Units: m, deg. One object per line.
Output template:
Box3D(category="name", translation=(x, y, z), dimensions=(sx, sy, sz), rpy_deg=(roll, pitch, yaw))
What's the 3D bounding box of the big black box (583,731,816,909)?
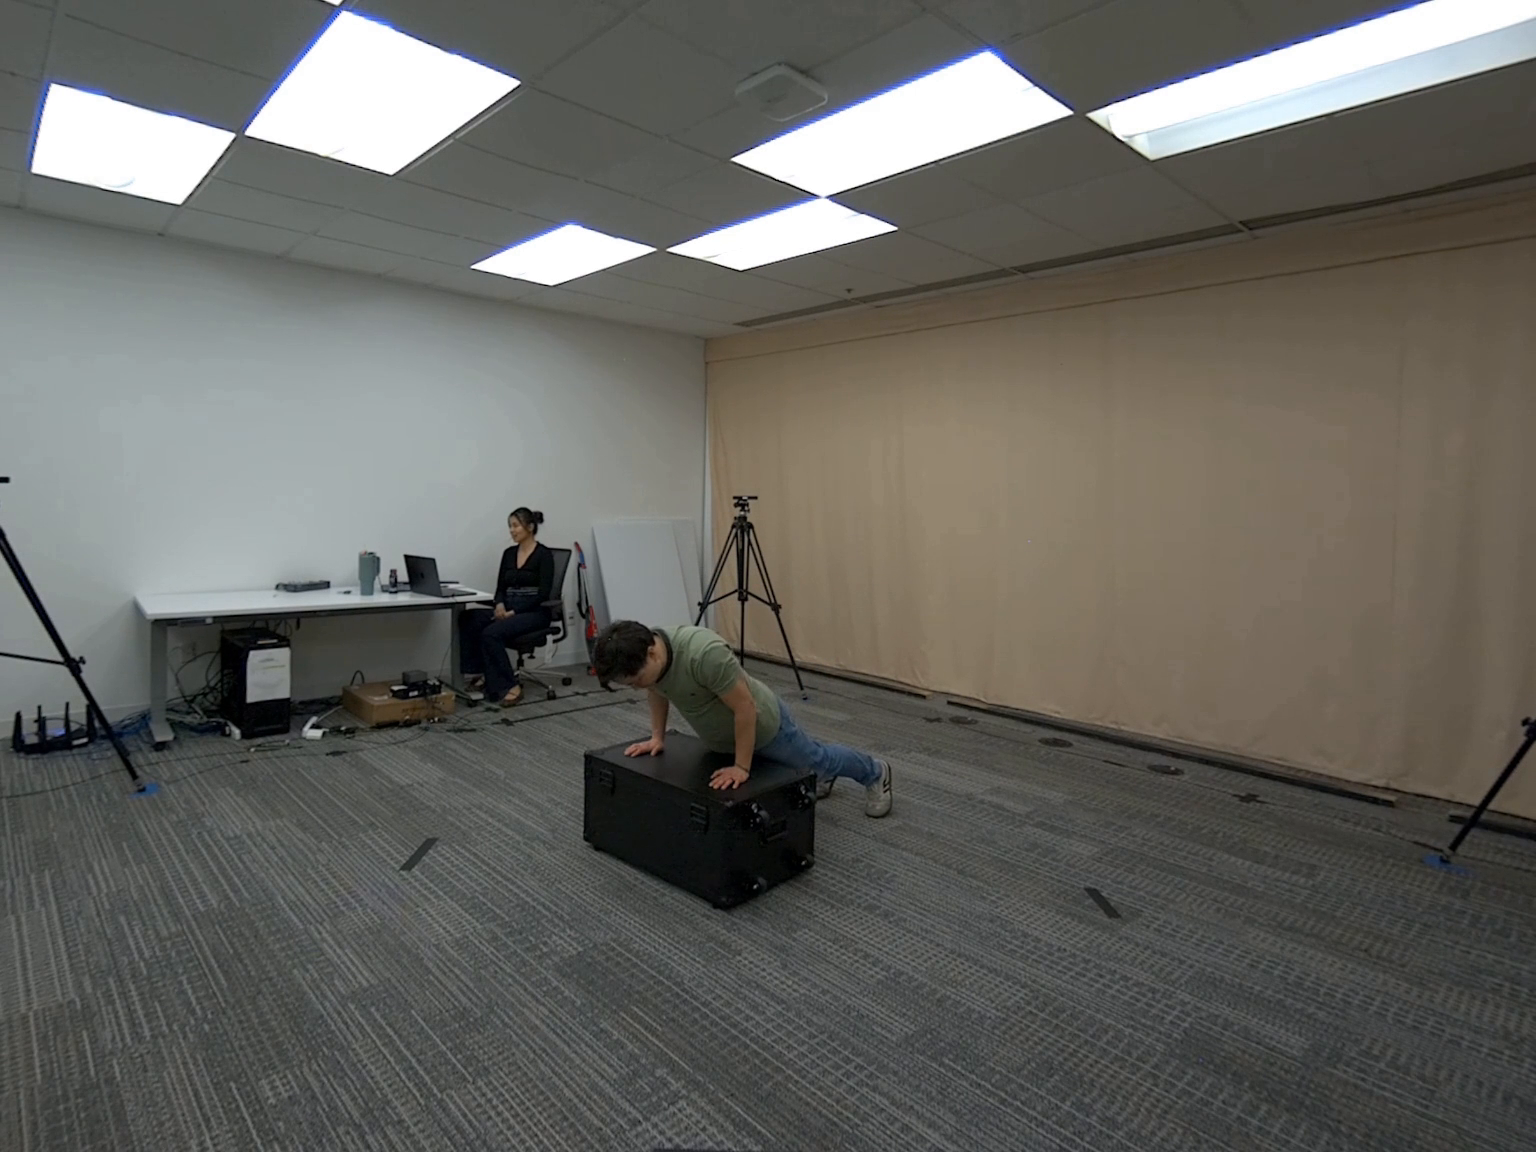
Box3D(category="big black box", translation=(-0.257, 0.906, 3.198), dimensions=(0.883, 0.395, 0.509), rpy_deg=(4, 5, 41))
